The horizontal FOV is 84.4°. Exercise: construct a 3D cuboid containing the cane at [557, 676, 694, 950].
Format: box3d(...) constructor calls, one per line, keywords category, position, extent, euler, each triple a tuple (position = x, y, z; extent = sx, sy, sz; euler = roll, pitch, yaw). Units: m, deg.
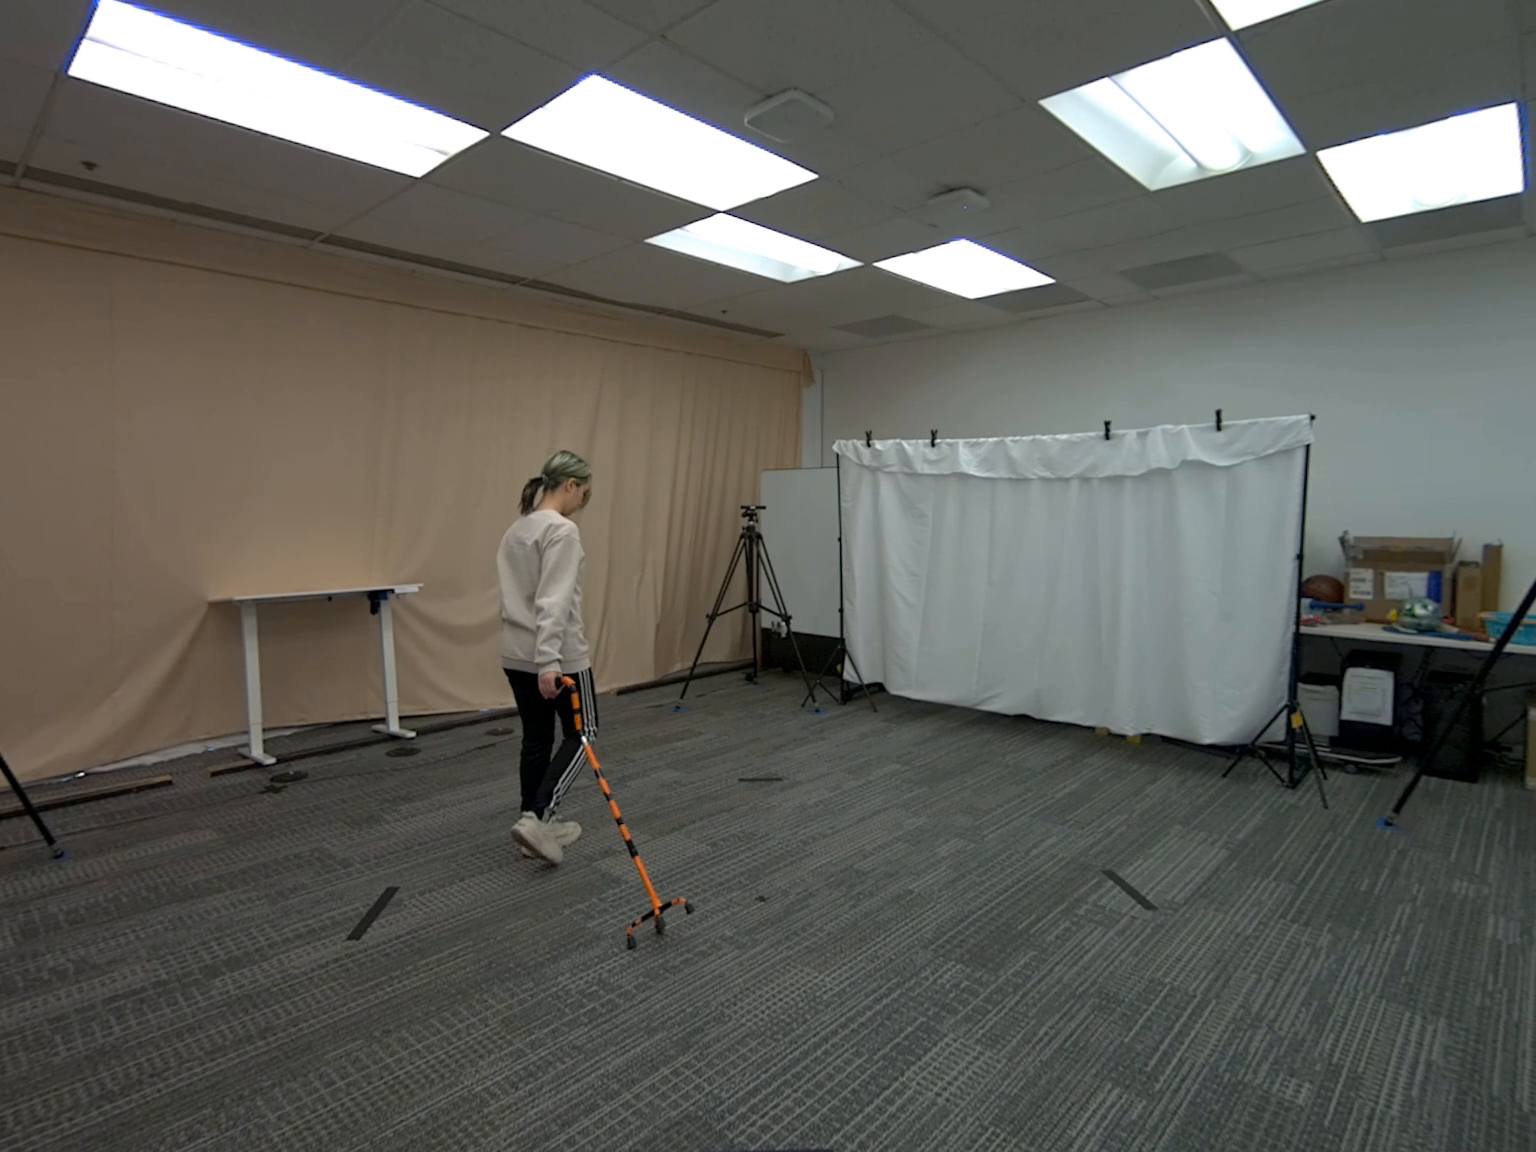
box3d(category="cane", position=(-0.539, 0.744, 2.813), extent=(0.147, 0.928, 0.208), euler=(-3, -34, -48))
